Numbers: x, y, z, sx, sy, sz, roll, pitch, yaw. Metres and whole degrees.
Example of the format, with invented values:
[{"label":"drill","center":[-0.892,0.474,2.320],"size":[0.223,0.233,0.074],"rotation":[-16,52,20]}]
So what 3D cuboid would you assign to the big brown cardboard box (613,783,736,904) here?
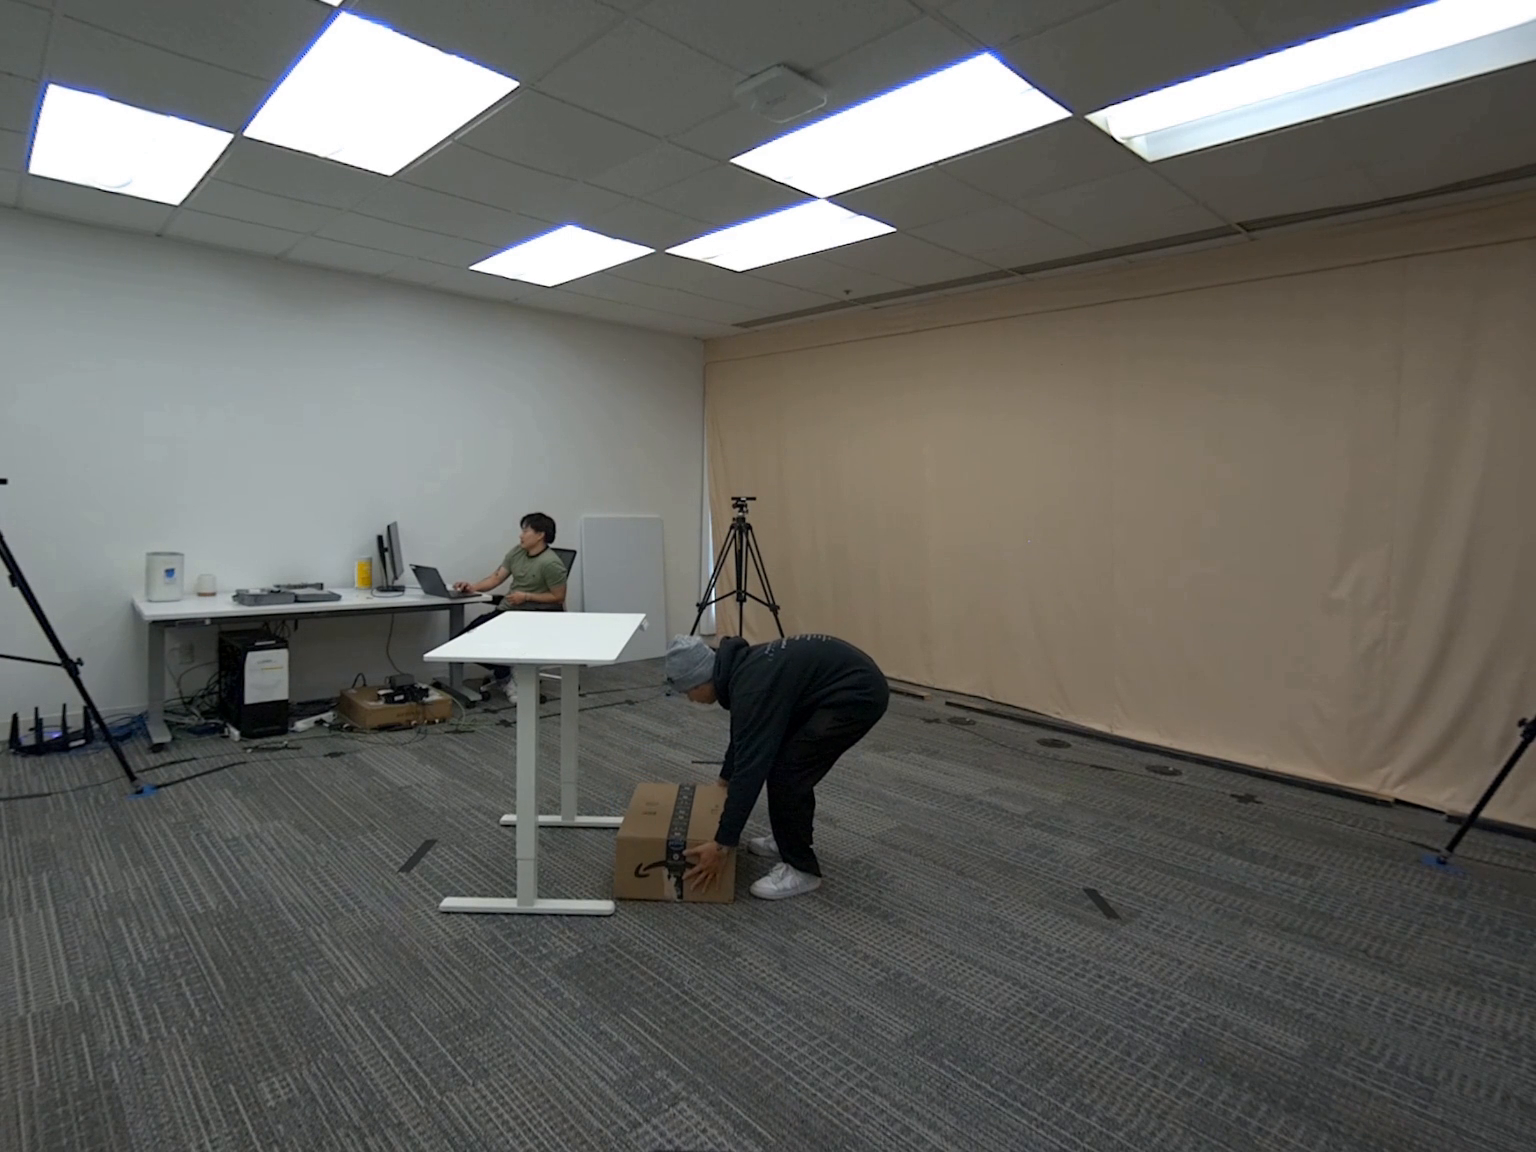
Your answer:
[{"label":"big brown cardboard box","center":[-0.333,0.986,3.166],"size":[0.417,0.232,0.590],"rotation":[2,4,-1]}]
